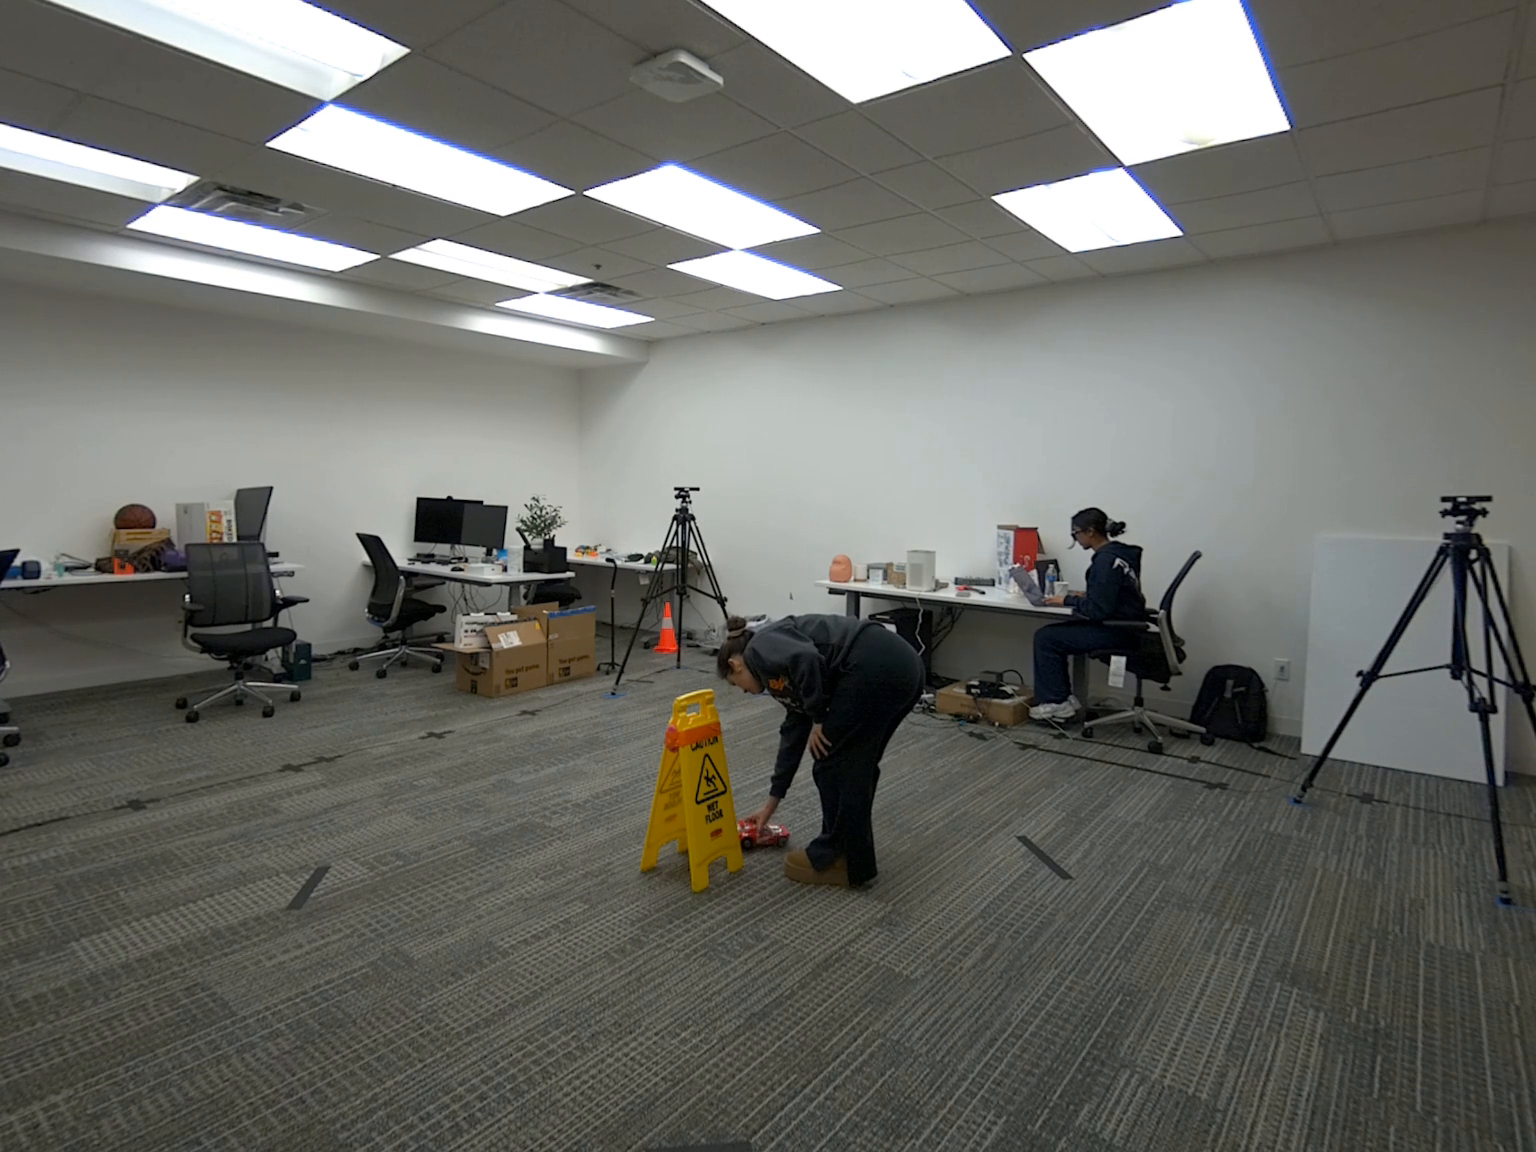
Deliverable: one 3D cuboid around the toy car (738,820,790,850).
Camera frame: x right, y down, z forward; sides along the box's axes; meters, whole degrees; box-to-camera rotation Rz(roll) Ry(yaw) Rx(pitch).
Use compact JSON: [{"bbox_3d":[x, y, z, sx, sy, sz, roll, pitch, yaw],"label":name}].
[{"bbox_3d":[-0.040,1.011,3.330,0.251,0.083,0.132,10,4,-13],"label":"toy car"}]
